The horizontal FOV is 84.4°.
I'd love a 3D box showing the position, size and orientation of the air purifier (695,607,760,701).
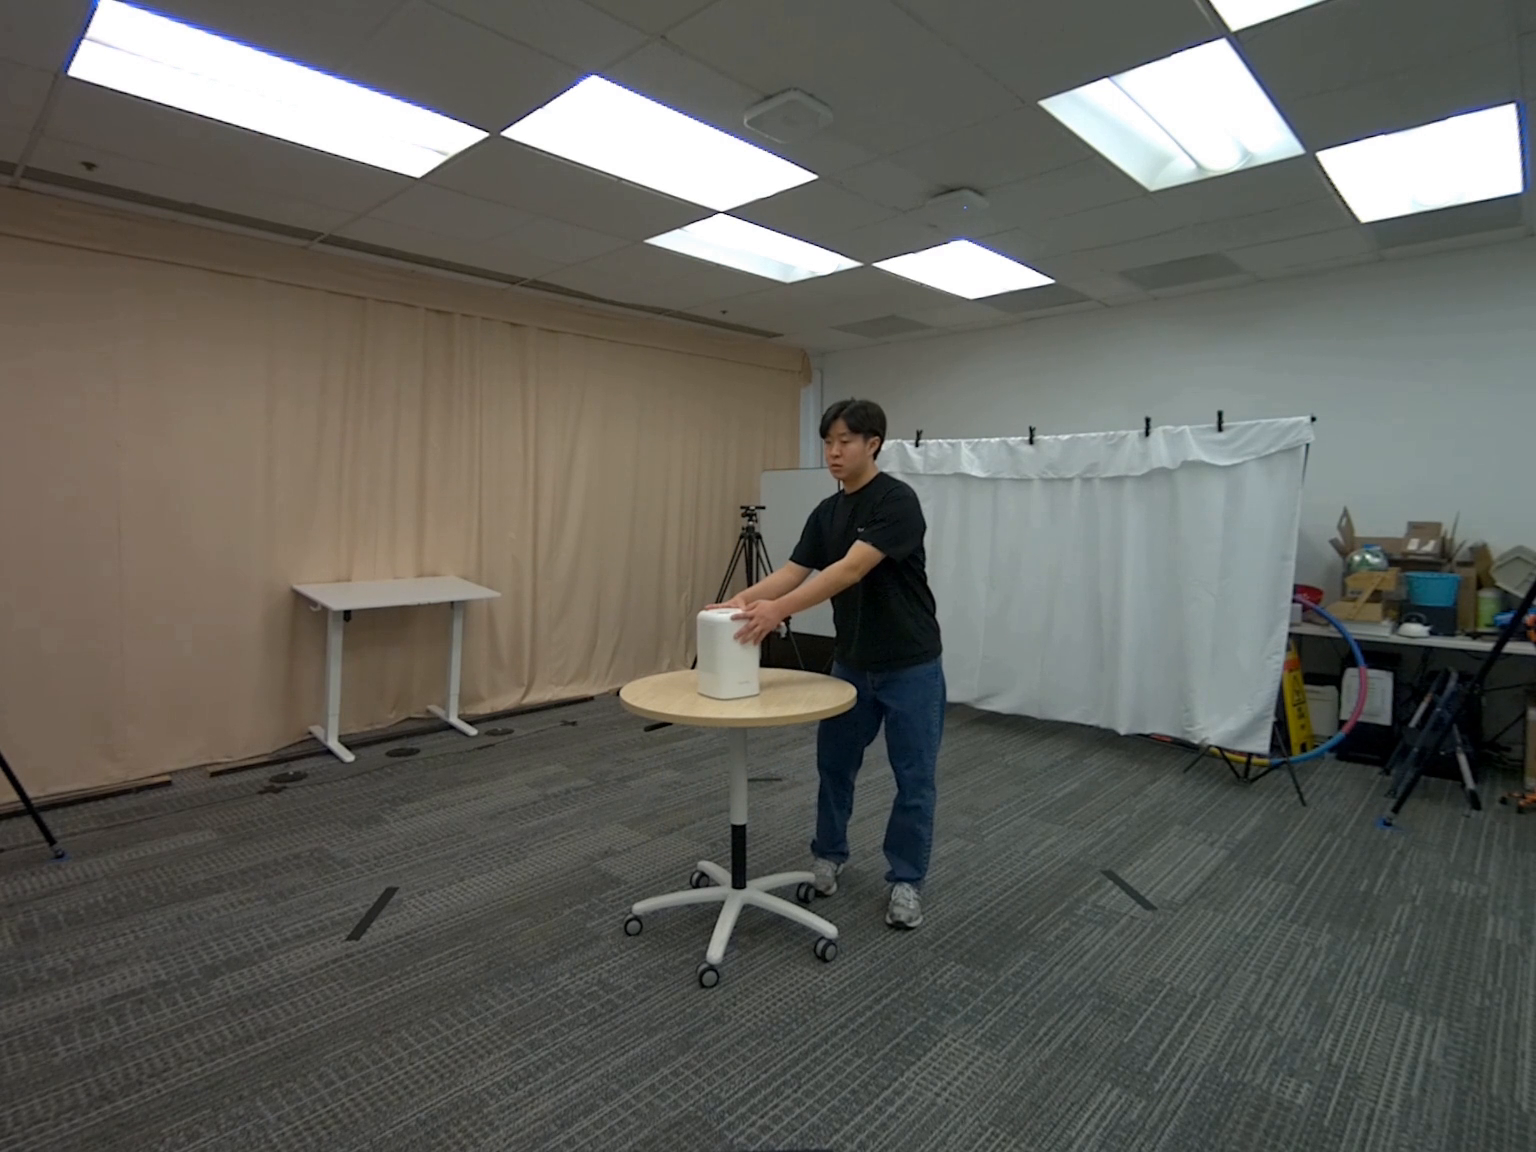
[{"bbox_3d":[-0.125,0.244,2.672,0.166,0.265,0.177,-2,3,-38],"label":"air purifier"}]
